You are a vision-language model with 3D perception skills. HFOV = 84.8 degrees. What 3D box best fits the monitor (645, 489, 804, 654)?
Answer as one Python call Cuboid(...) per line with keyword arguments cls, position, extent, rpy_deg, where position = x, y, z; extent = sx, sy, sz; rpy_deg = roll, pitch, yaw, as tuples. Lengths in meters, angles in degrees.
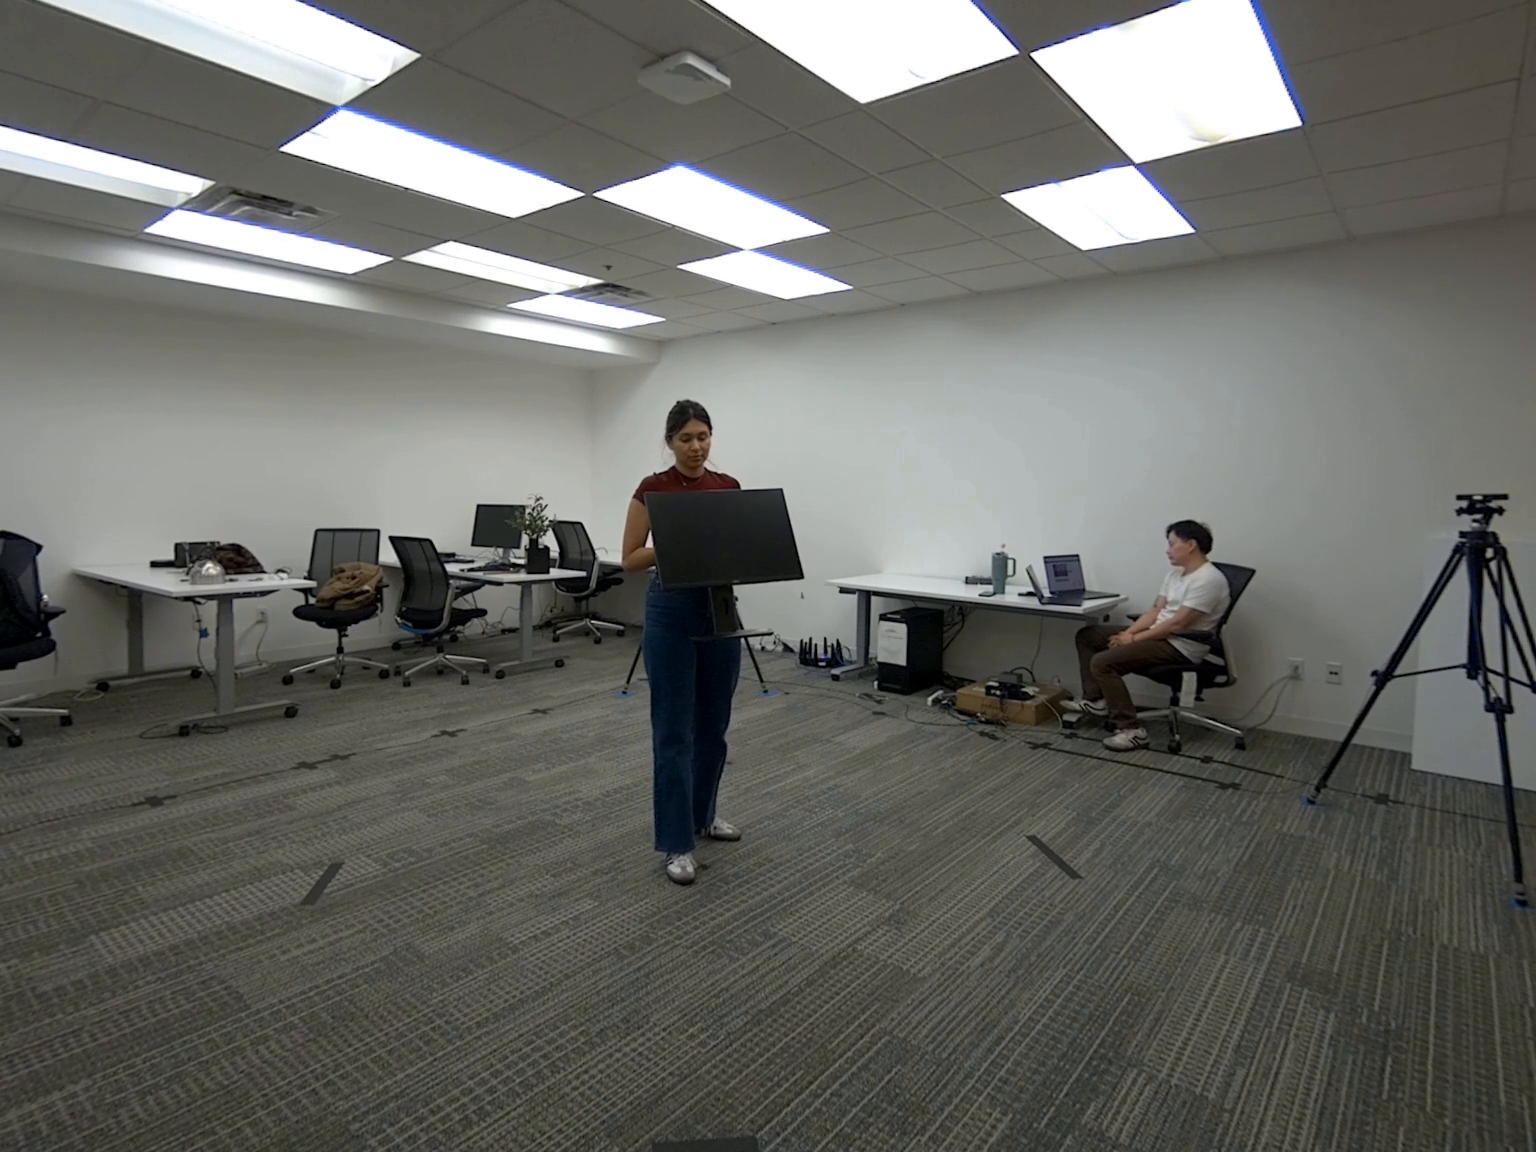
Cuboid(cls="monitor", position=(-0.156, -0.046, 2.975), extent=(0.527, 0.526, 0.190), rpy_deg=(-4, -7, -25))
